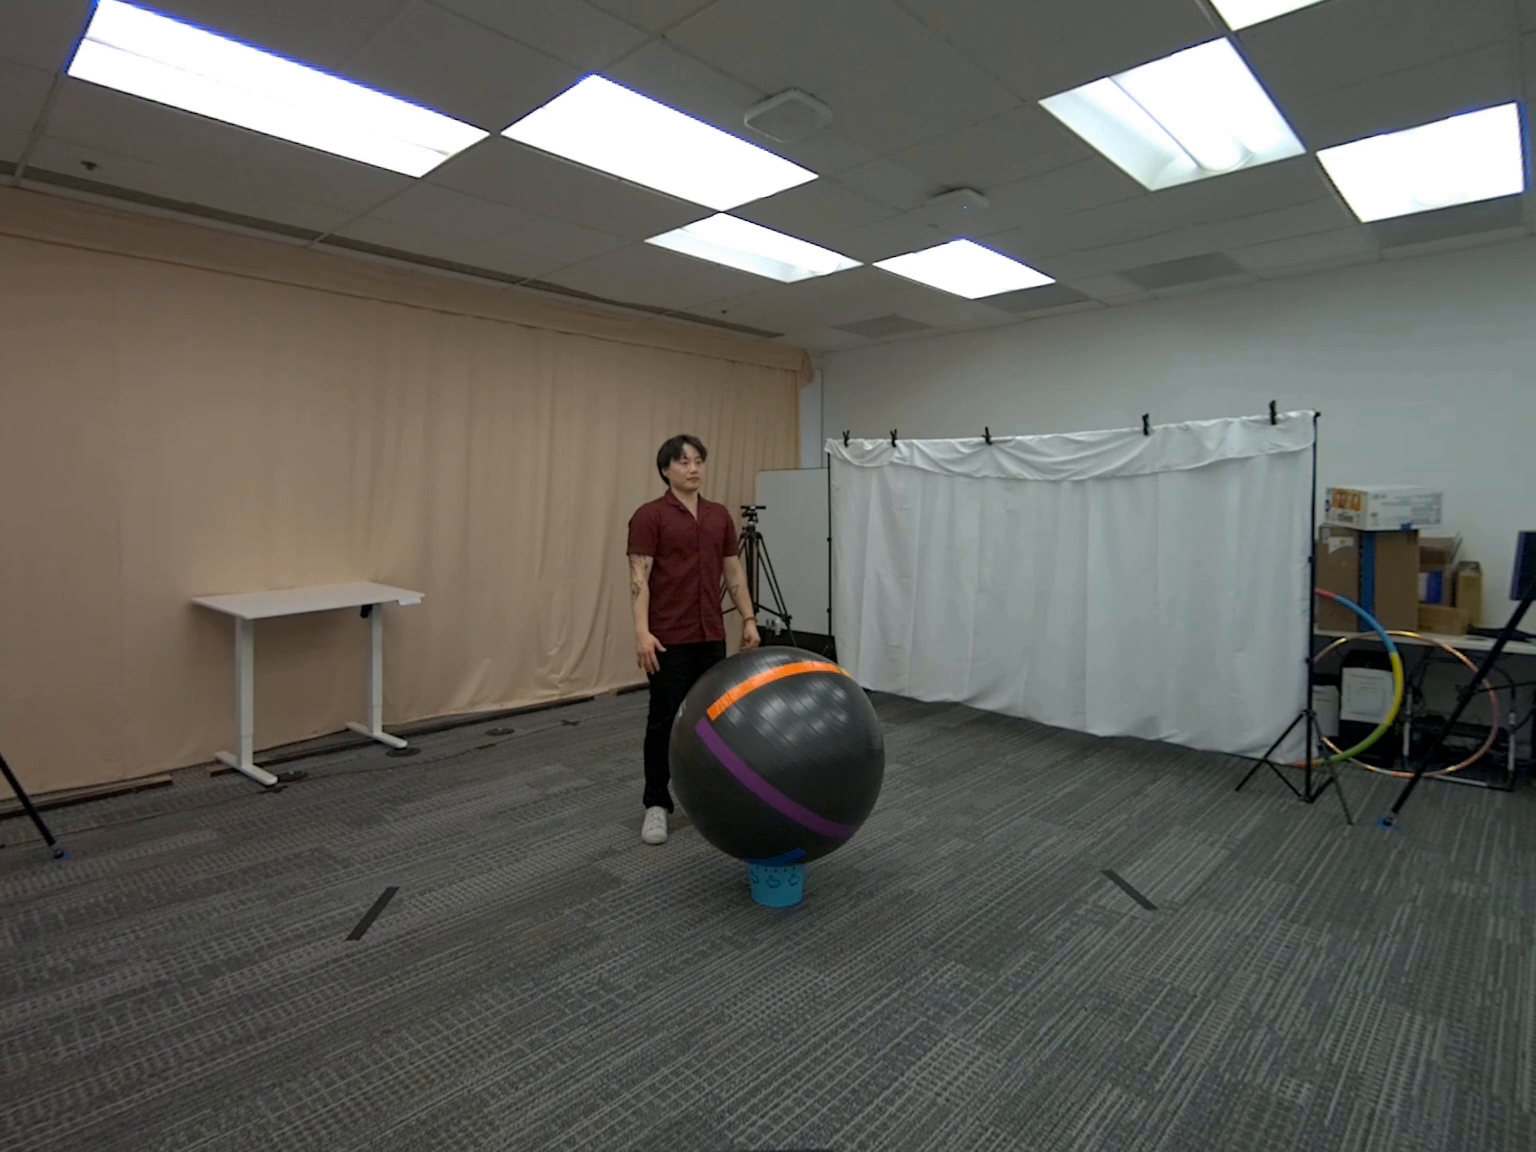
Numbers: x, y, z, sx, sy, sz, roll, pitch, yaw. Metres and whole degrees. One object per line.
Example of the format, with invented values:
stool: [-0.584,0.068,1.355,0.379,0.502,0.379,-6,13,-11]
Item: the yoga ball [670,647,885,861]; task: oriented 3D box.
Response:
yoga ball: [0.031,0.632,2.992,0.757,0.756,0.761,0,4,-2]
